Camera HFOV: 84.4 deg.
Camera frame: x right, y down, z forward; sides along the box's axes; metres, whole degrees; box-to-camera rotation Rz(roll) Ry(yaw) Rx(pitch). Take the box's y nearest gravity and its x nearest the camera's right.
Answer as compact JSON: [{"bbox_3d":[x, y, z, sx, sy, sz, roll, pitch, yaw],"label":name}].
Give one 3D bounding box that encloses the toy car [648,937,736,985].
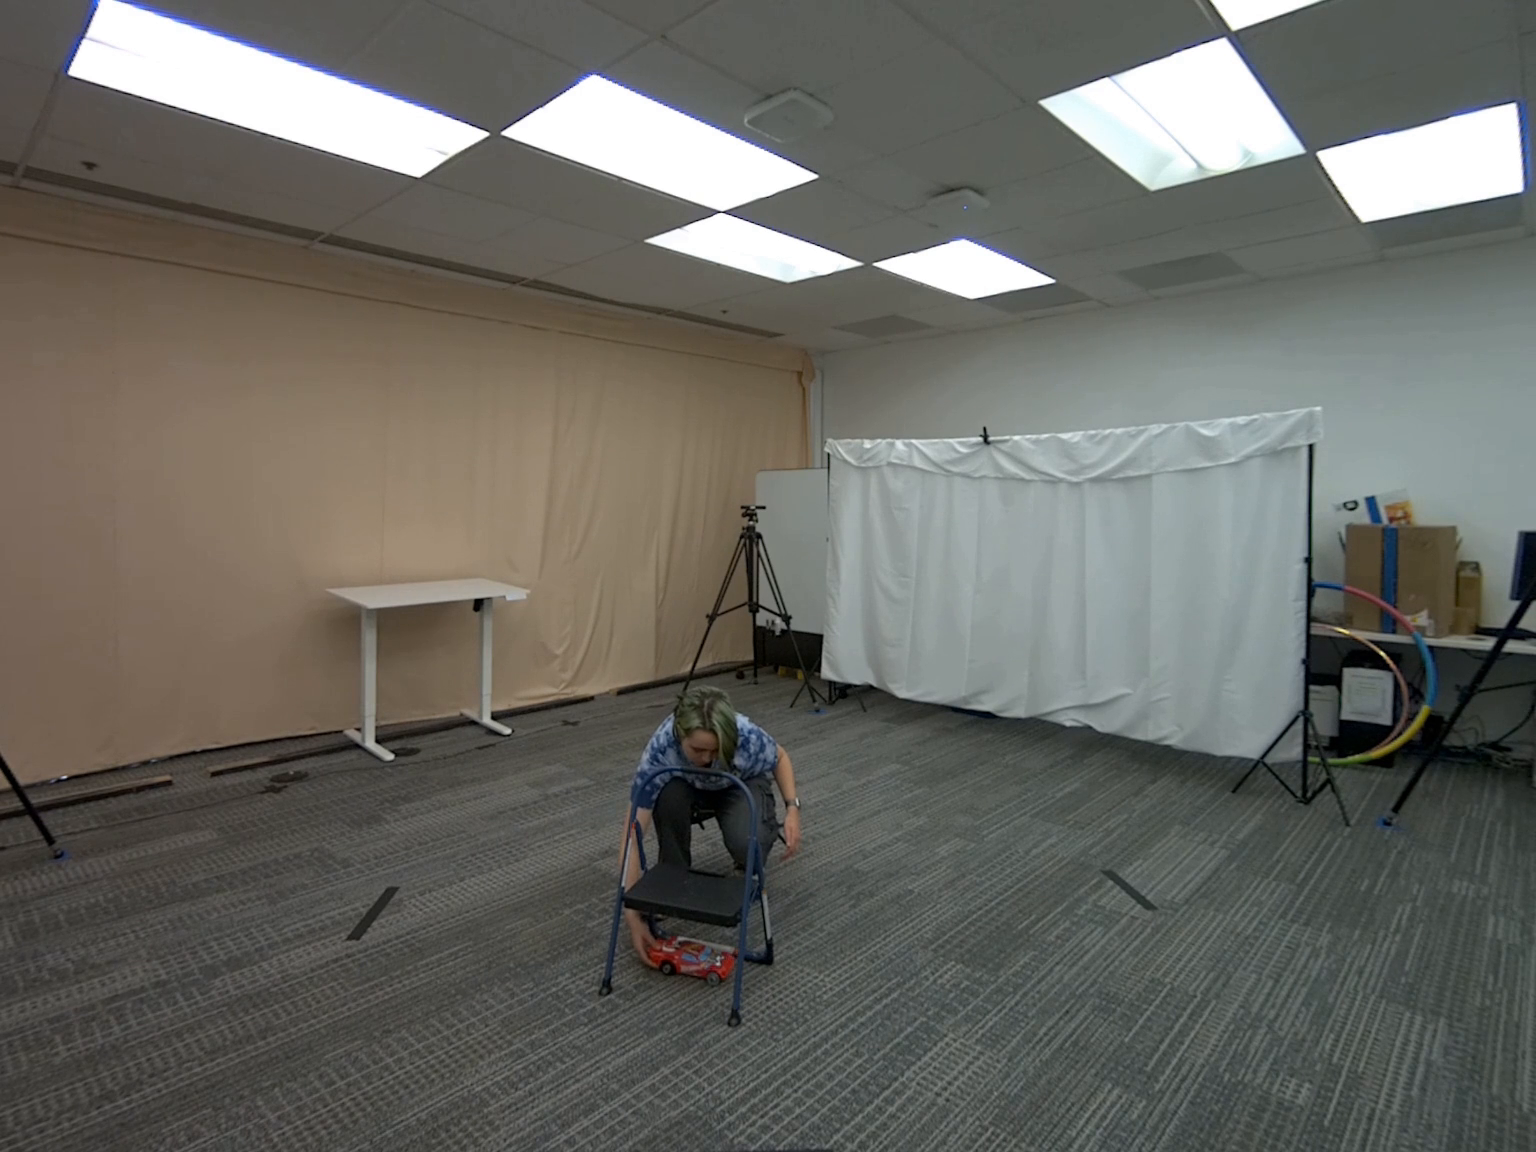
[{"bbox_3d":[-0.235,1.148,2.527,0.260,0.083,0.128,12,11,19],"label":"toy car"}]
